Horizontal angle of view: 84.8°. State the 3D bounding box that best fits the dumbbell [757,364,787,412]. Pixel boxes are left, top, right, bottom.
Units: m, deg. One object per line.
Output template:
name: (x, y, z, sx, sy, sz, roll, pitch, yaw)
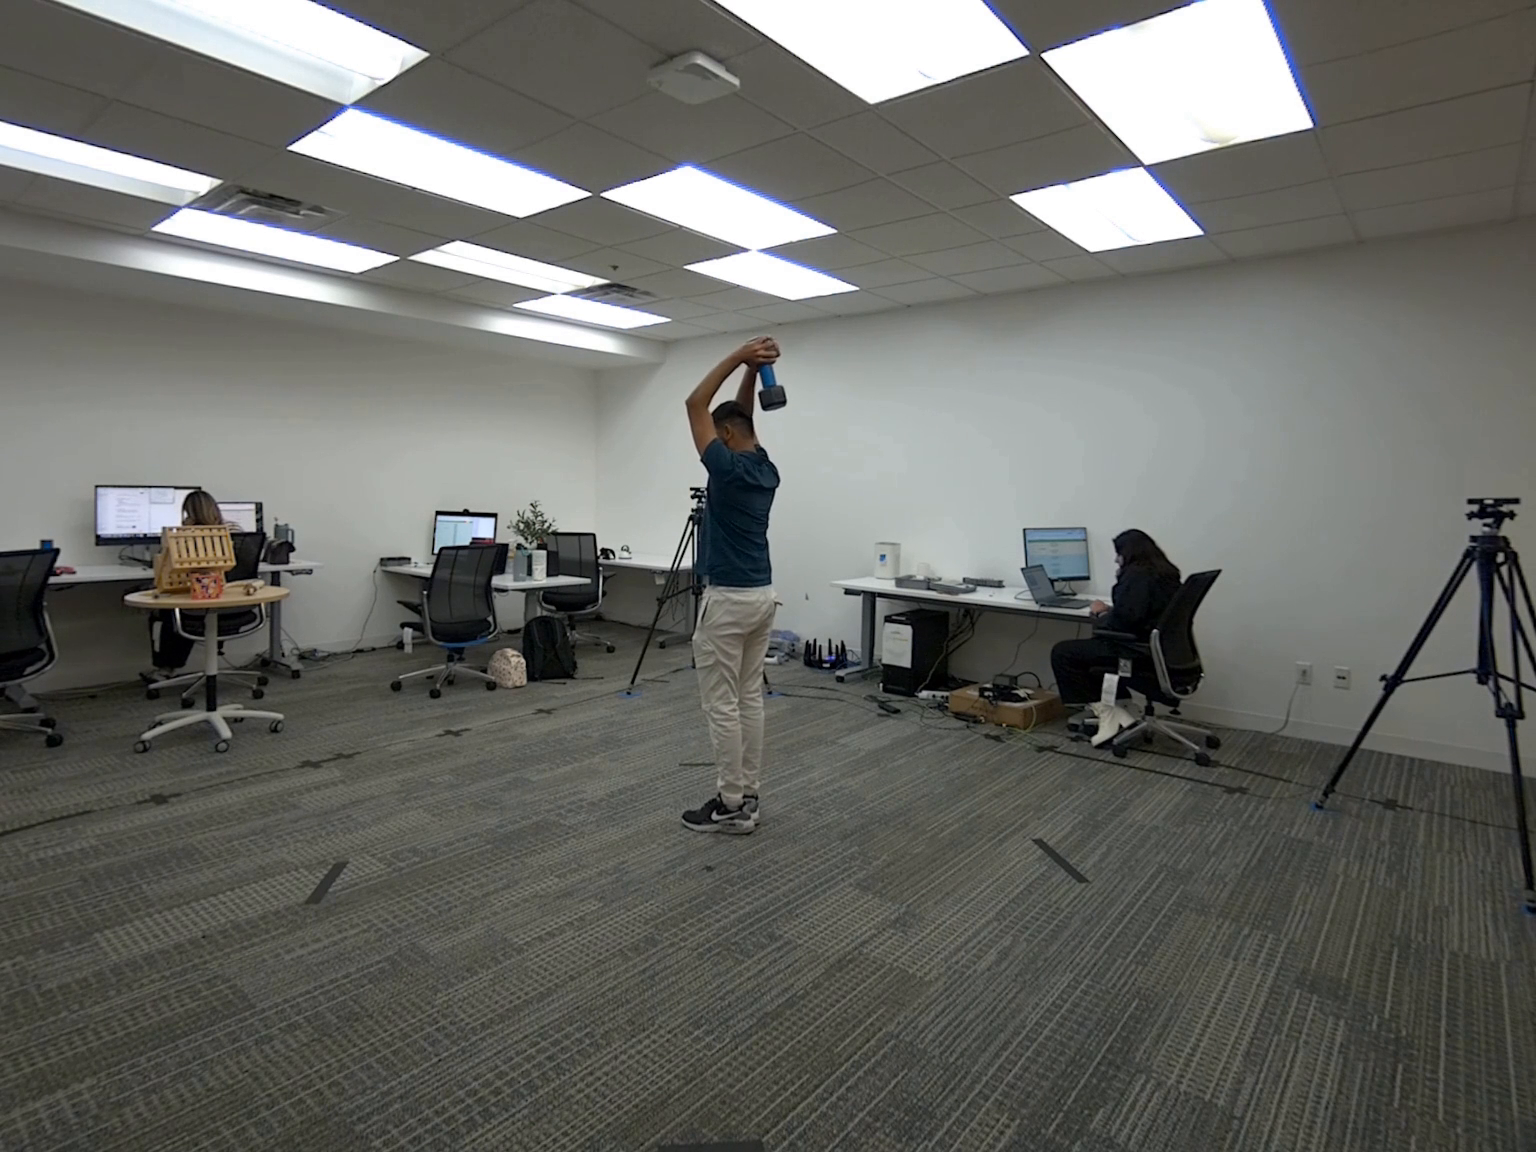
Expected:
dumbbell: (-0.014, -0.819, 3.461, 0.125, 0.297, 0.105, -24, -12, 35)
